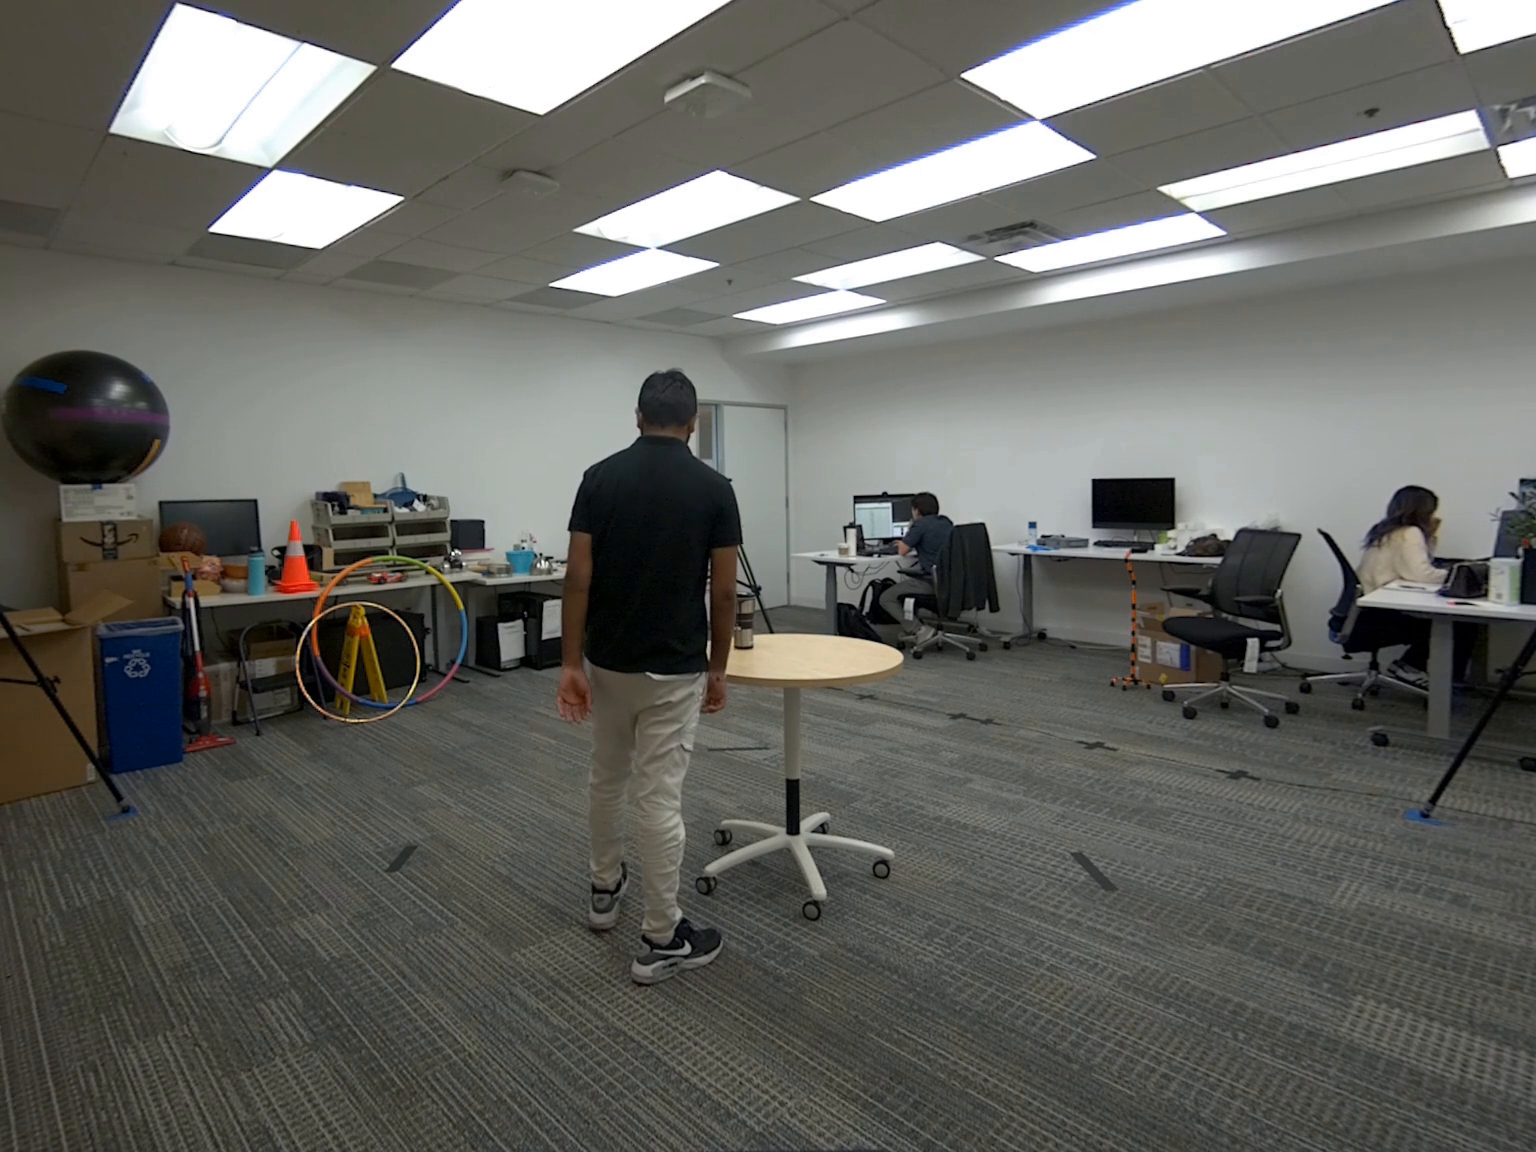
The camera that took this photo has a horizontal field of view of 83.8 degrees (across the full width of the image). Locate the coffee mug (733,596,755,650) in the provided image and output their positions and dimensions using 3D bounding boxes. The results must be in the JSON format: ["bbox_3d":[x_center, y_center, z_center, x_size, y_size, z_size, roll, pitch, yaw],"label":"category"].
[{"bbox_3d":[-0.104,0.162,3.084,0.119,0.202,0.090,-1,7,-34],"label":"coffee mug"}]
